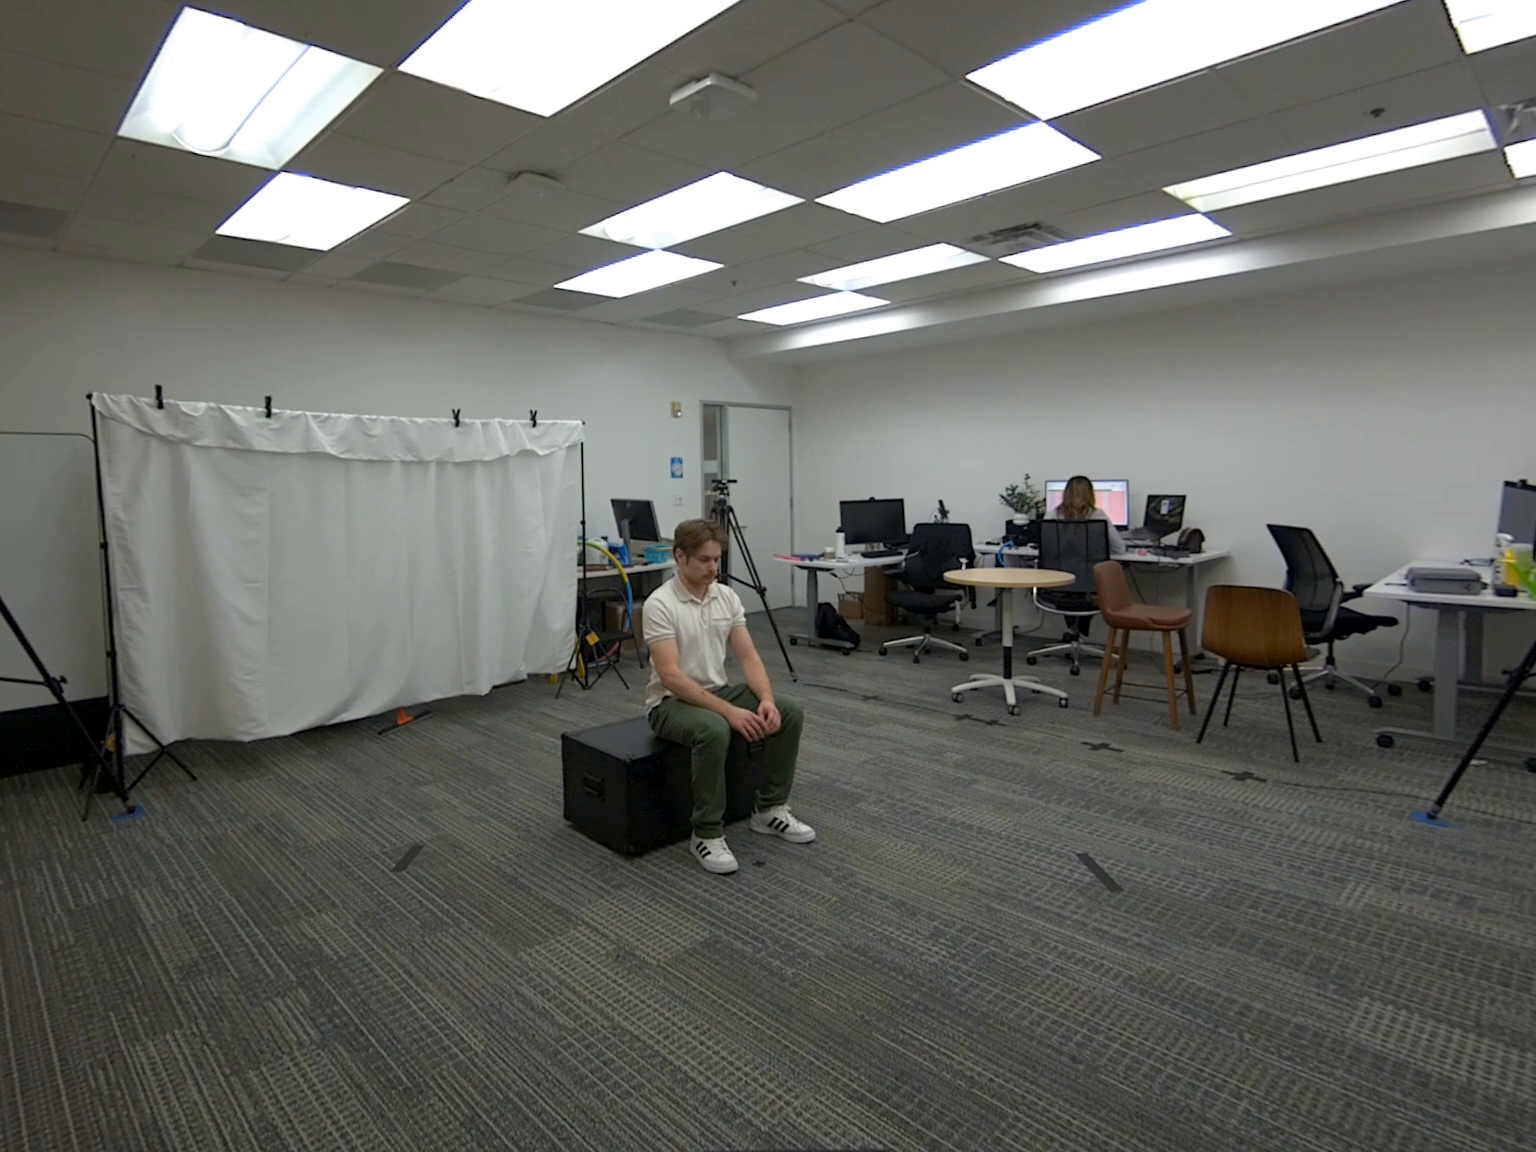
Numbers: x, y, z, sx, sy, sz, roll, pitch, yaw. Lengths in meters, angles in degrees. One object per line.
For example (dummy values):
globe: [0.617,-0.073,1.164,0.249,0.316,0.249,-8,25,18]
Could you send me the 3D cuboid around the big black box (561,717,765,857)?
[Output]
big black box: [-0.364,0.808,3.578,0.846,0.384,0.539,-6,6,-41]
